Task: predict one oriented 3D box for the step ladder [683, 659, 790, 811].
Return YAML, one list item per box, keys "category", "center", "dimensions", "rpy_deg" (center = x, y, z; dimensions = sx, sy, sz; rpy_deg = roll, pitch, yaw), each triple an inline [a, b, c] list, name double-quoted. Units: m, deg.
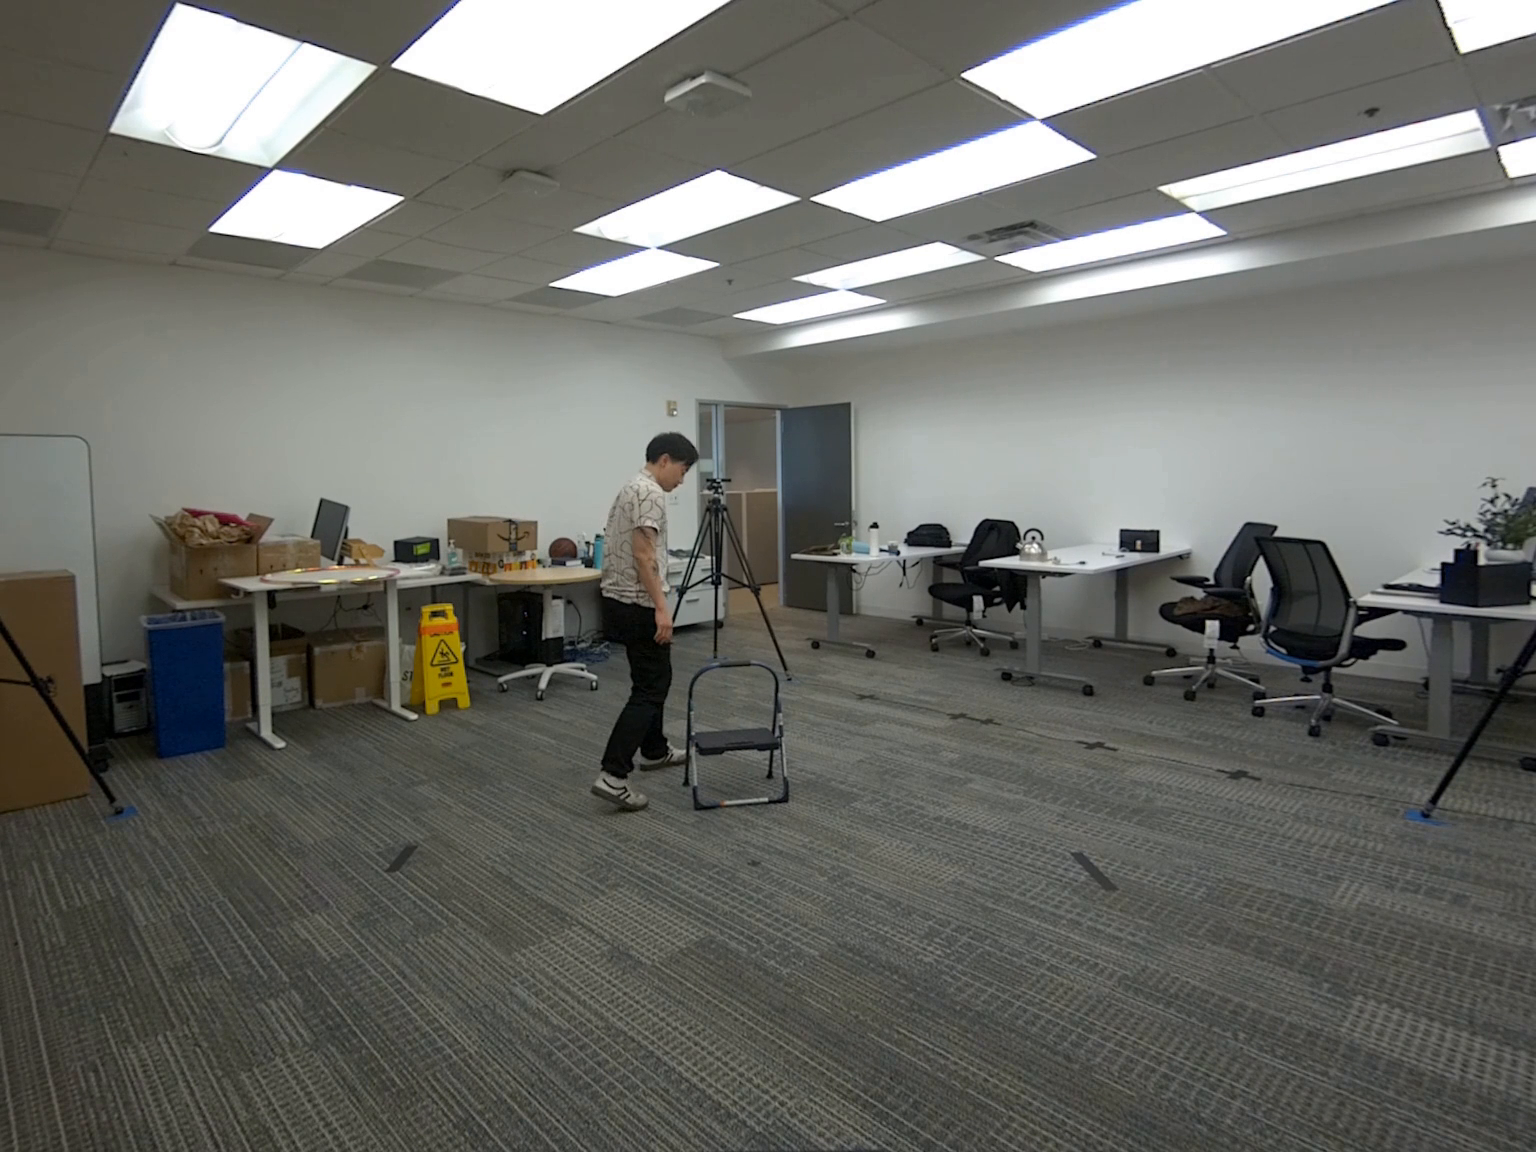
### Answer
- category: "step ladder"
  center: [-0.155, 0.669, 3.797]
  dimensions: [0.426, 0.604, 0.354]
  rpy_deg: [-2, 4, -12]
